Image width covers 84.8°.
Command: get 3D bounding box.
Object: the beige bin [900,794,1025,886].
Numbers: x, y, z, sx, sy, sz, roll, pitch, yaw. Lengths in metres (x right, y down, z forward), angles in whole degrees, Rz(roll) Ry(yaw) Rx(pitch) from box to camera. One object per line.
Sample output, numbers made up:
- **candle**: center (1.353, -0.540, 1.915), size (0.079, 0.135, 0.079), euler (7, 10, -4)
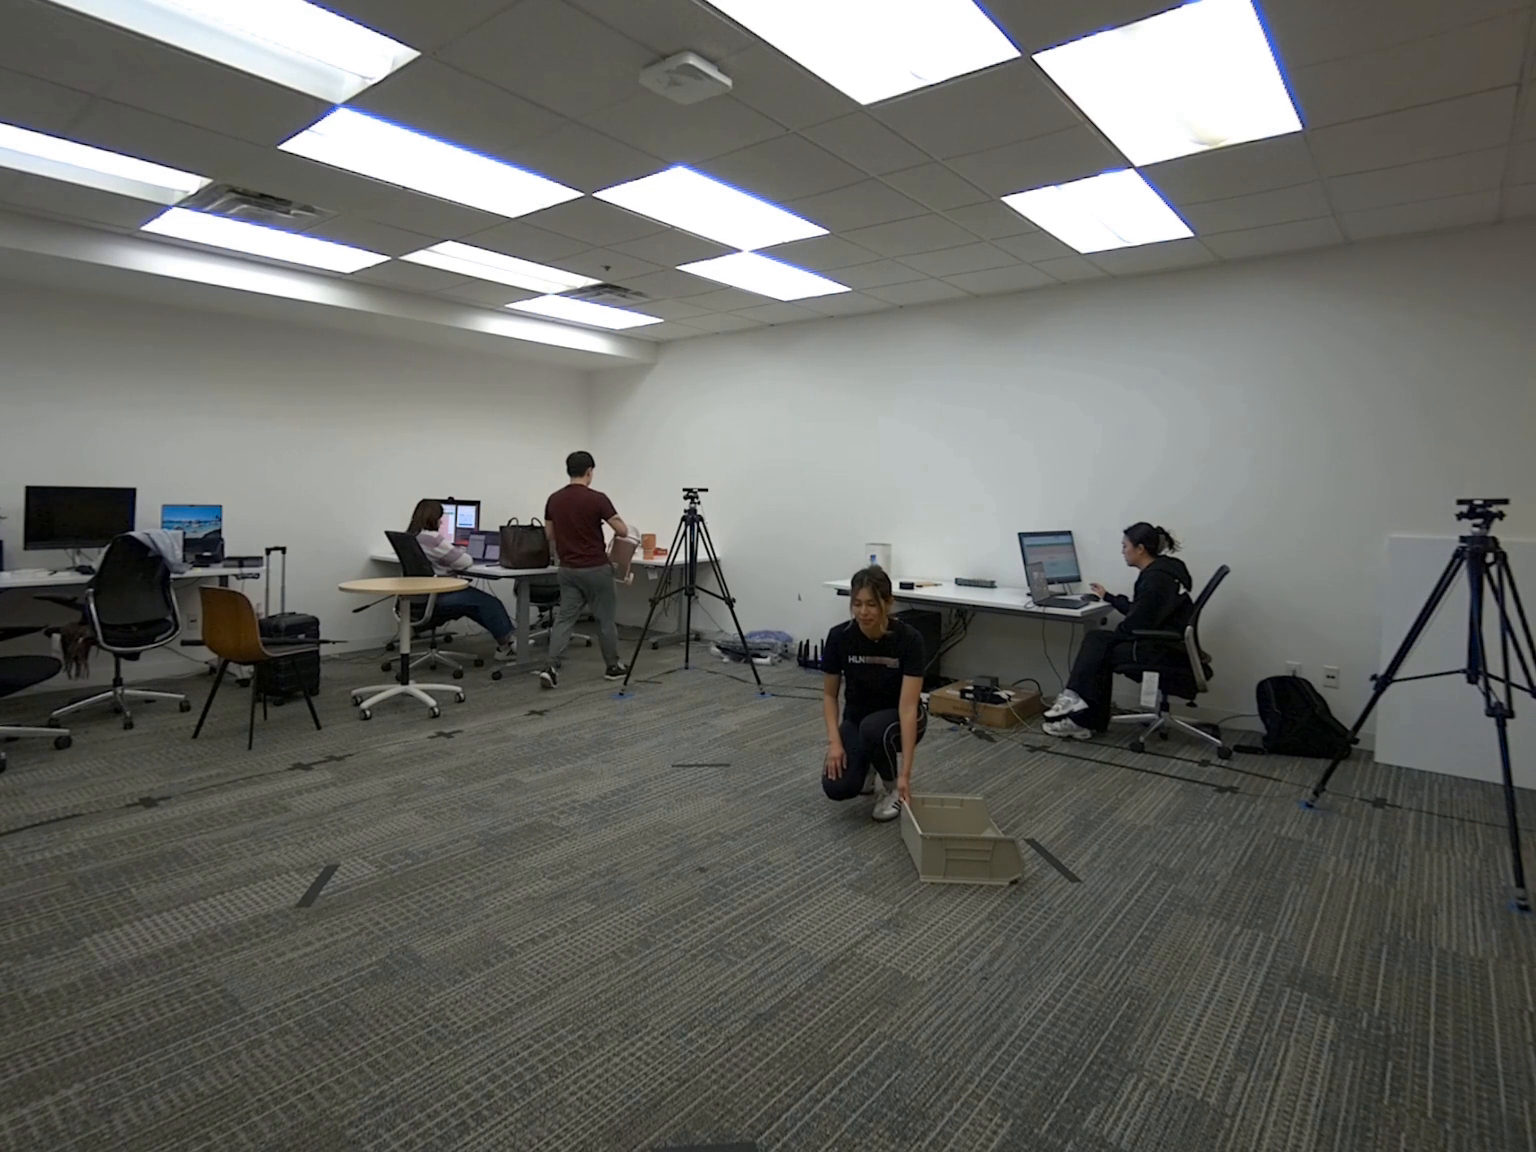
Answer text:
- **beige bin**: center (0.726, 0.992, 3.245), size (0.377, 0.188, 0.424), euler (0, 5, -1)
